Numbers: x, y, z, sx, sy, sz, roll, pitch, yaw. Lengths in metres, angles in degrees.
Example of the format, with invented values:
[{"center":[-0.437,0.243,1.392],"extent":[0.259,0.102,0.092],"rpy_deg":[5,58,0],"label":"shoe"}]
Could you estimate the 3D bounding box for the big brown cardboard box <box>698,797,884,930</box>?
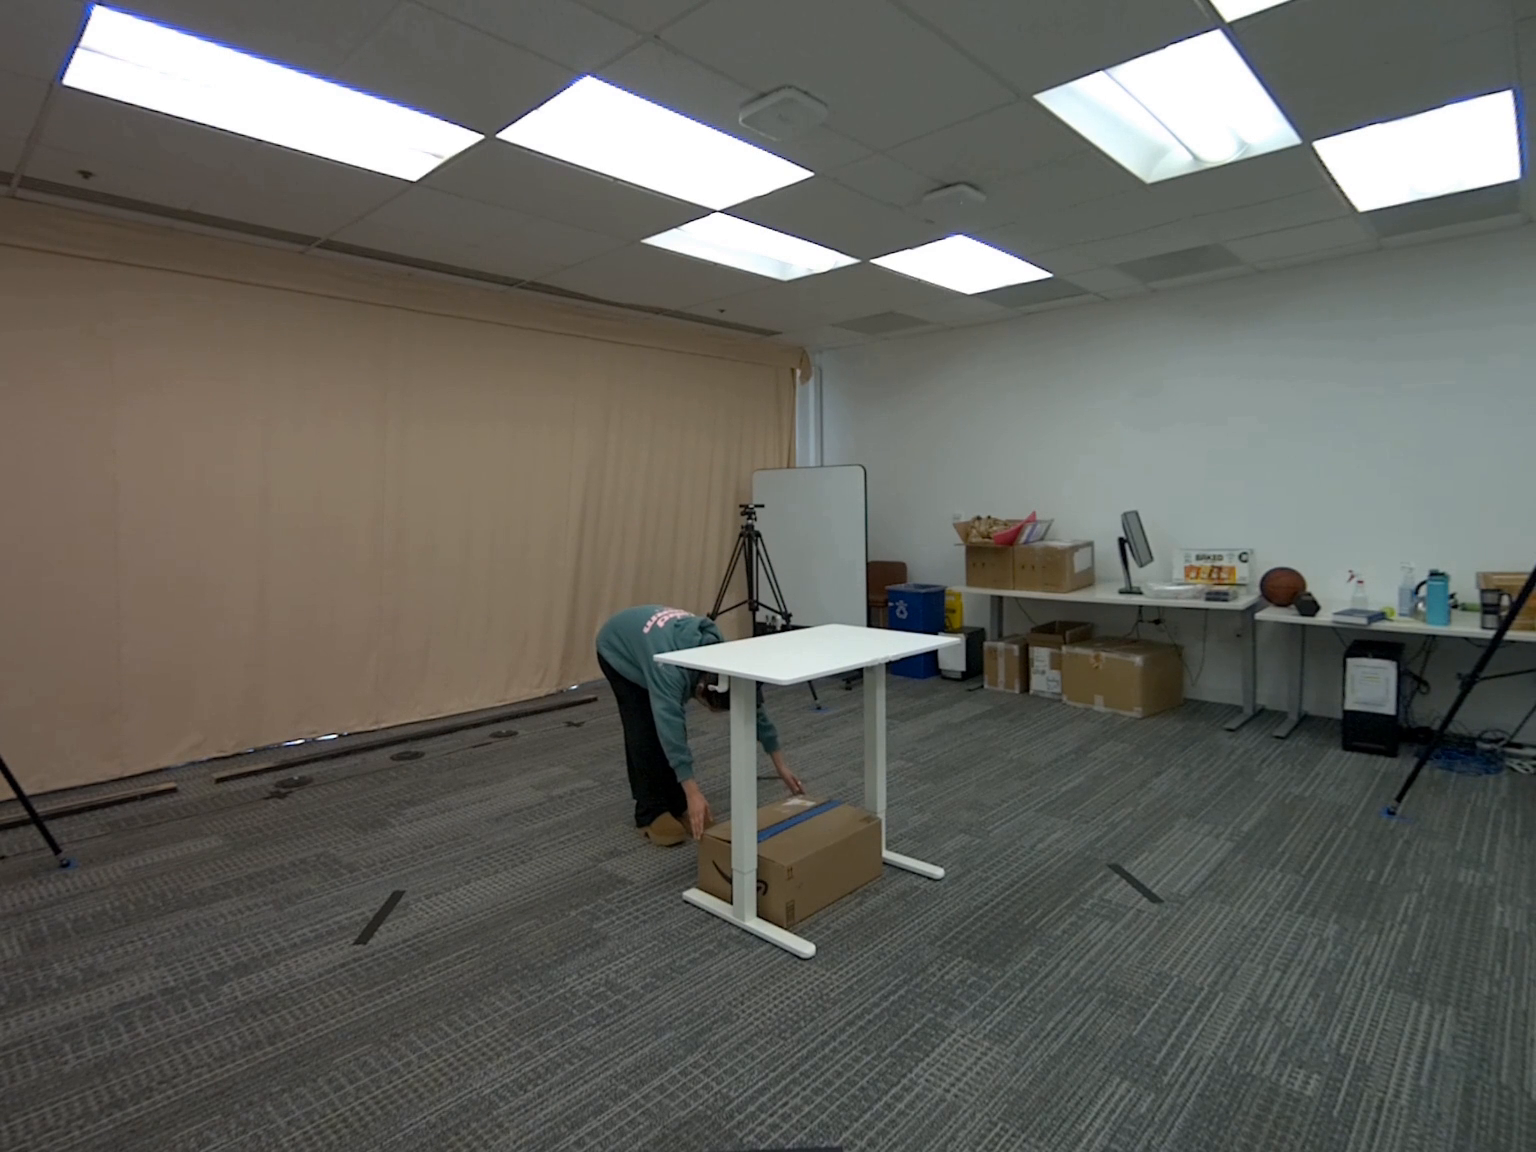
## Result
[{"center":[0.089,1.017,3.086],"extent":[0.431,0.232,0.571],"rpy_deg":[3,7,43],"label":"big brown cardboard box"}]
